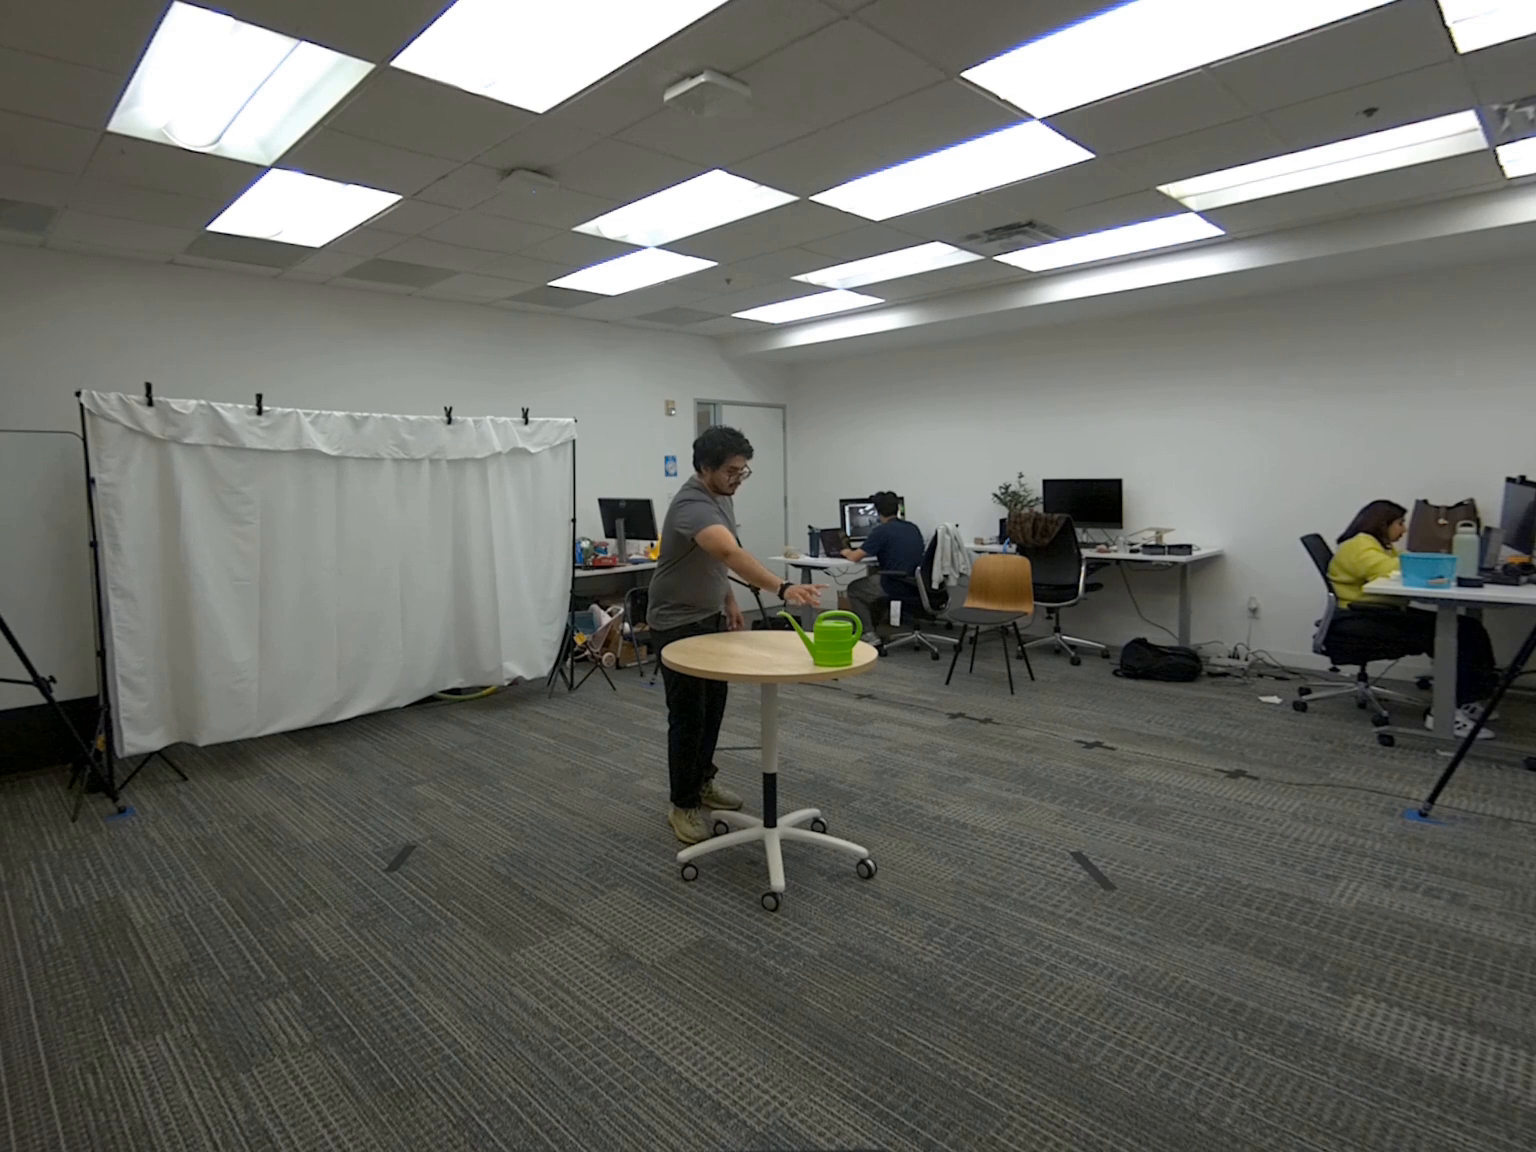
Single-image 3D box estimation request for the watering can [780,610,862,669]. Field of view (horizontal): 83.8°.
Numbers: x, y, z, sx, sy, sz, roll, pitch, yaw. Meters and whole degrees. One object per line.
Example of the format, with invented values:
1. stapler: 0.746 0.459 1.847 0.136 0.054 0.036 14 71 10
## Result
1. watering can: 0.177 0.205 2.817 0.279 0.176 0.098 1 5 5
